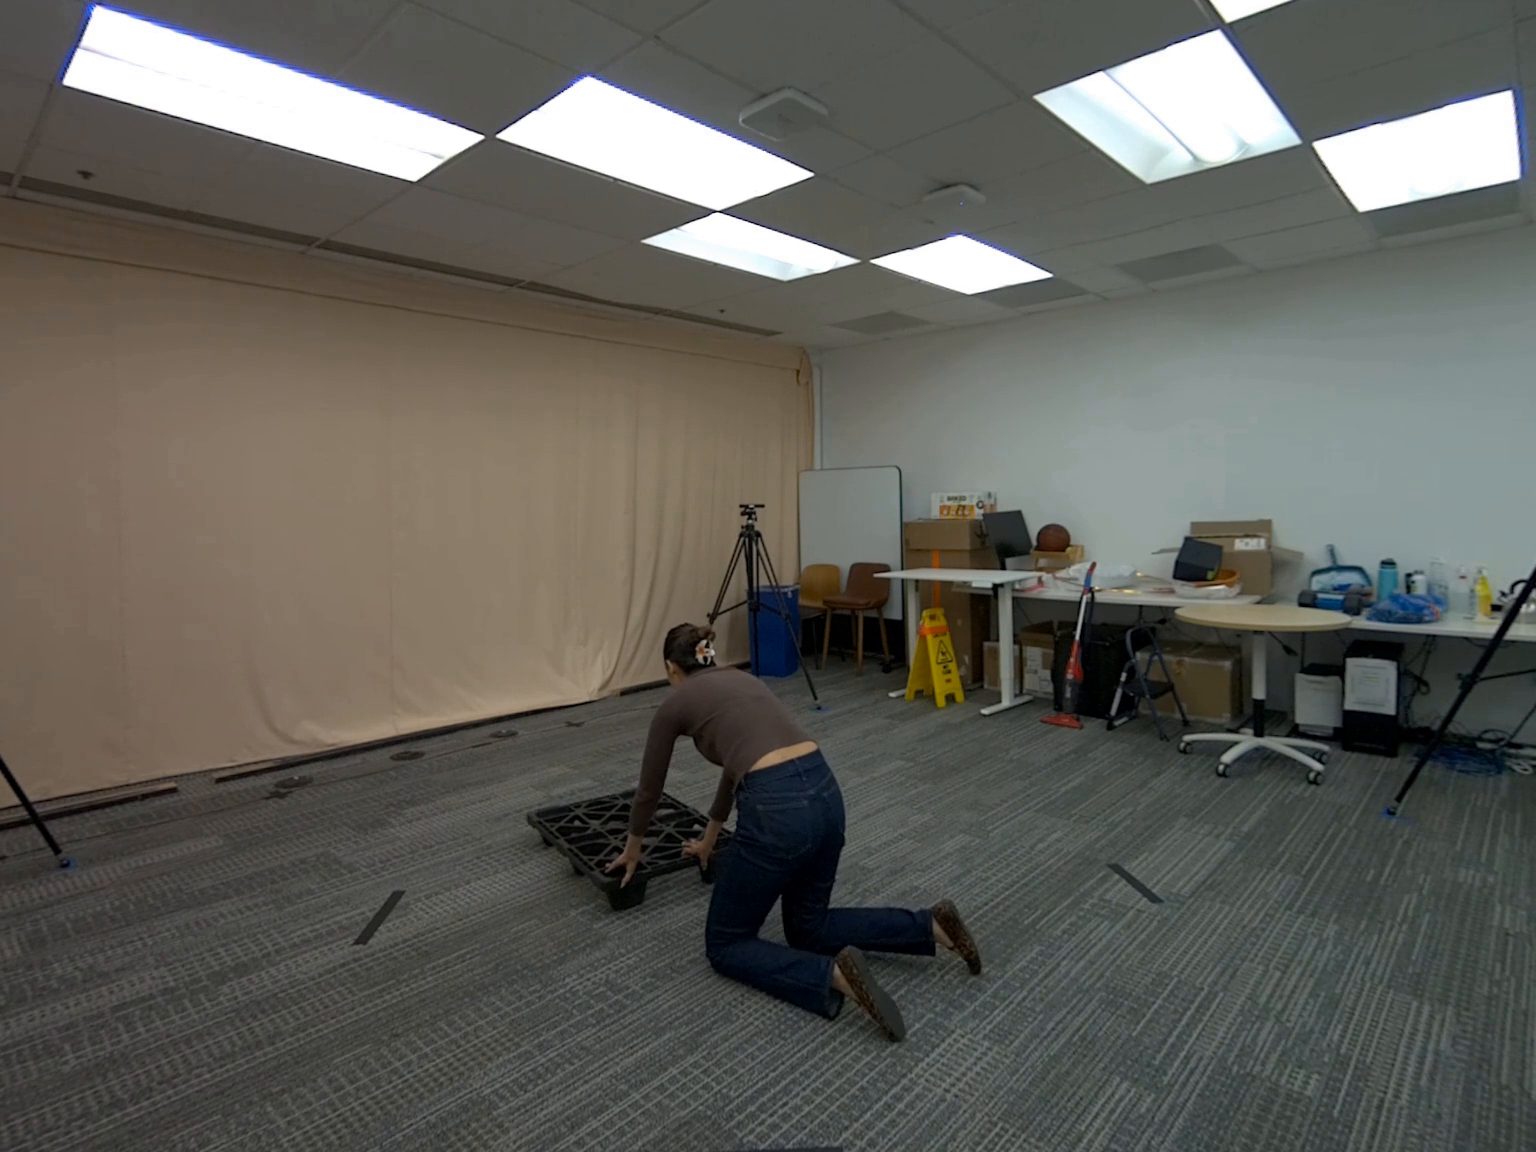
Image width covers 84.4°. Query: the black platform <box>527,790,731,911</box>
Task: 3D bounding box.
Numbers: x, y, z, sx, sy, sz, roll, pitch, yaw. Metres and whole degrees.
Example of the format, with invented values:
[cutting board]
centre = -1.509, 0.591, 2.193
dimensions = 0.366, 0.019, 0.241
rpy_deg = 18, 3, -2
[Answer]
[black platform]
centre = -0.539, 1.057, 3.325
dimensions = 0.588, 0.143, 0.830
rpy_deg = -5, 6, -33
